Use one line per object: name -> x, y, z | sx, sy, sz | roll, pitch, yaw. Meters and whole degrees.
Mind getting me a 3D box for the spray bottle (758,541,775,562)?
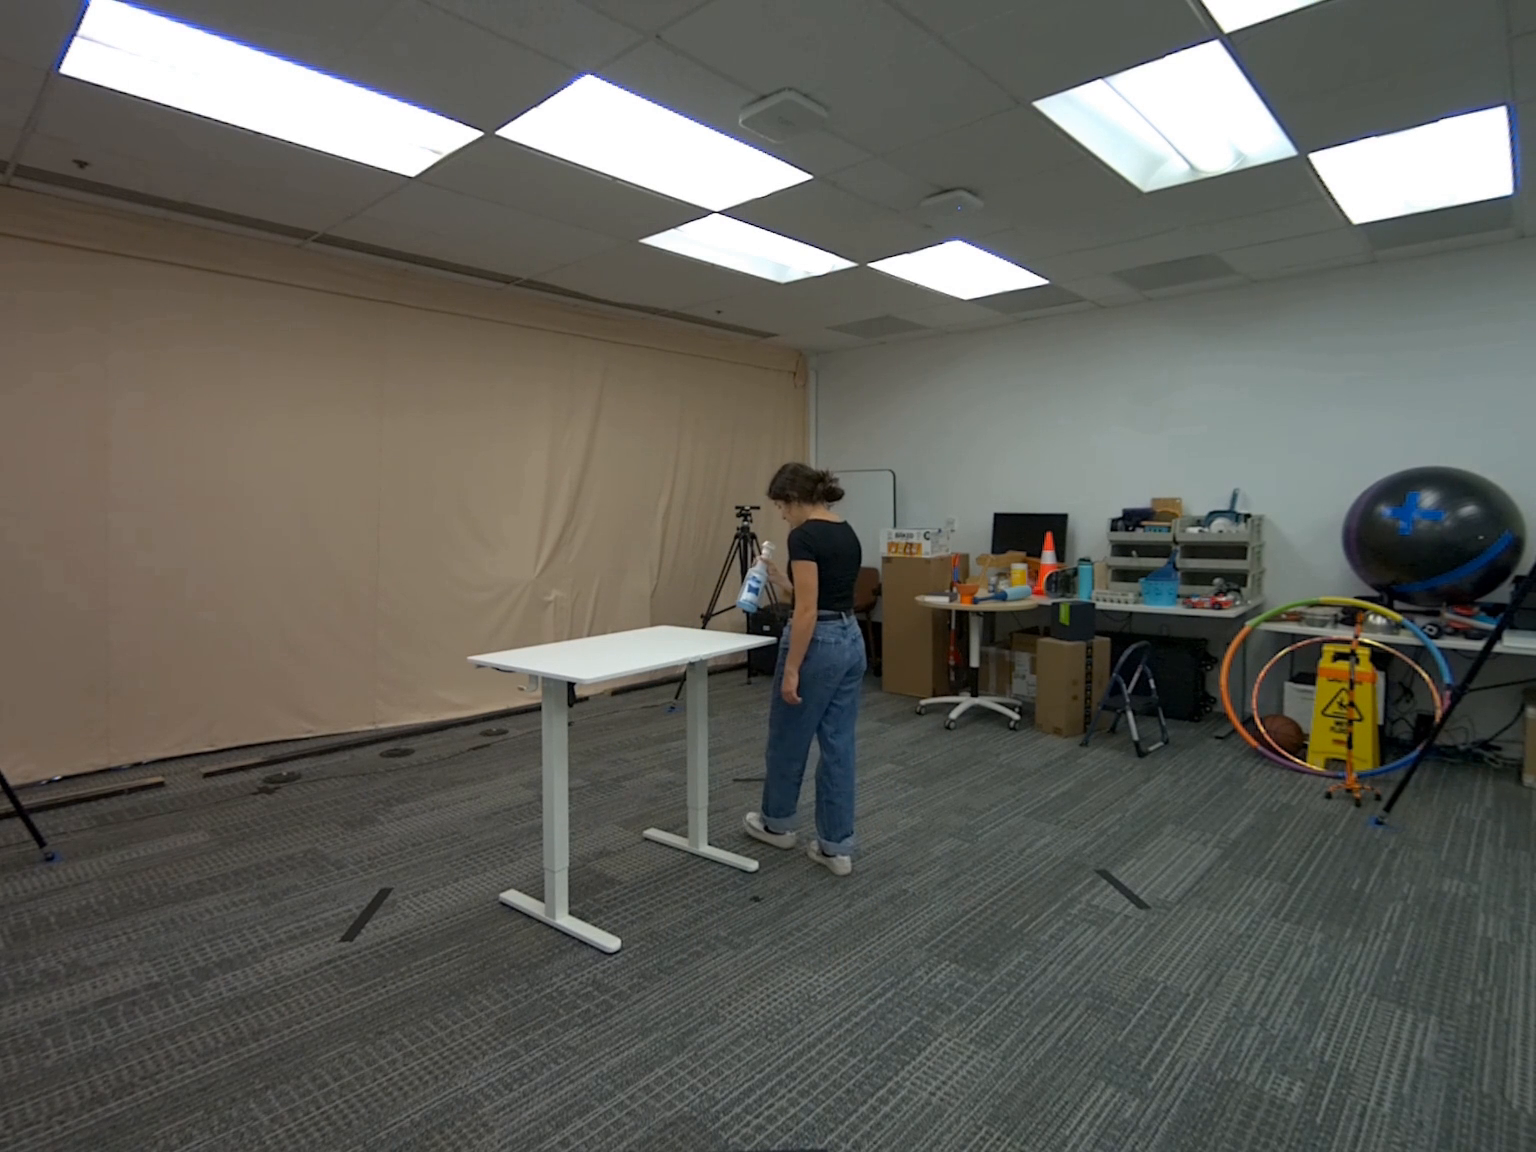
spray bottle -> -0.039, 0.000, 3.437 | 0.087, 0.298, 0.089 | 28, -15, -29
